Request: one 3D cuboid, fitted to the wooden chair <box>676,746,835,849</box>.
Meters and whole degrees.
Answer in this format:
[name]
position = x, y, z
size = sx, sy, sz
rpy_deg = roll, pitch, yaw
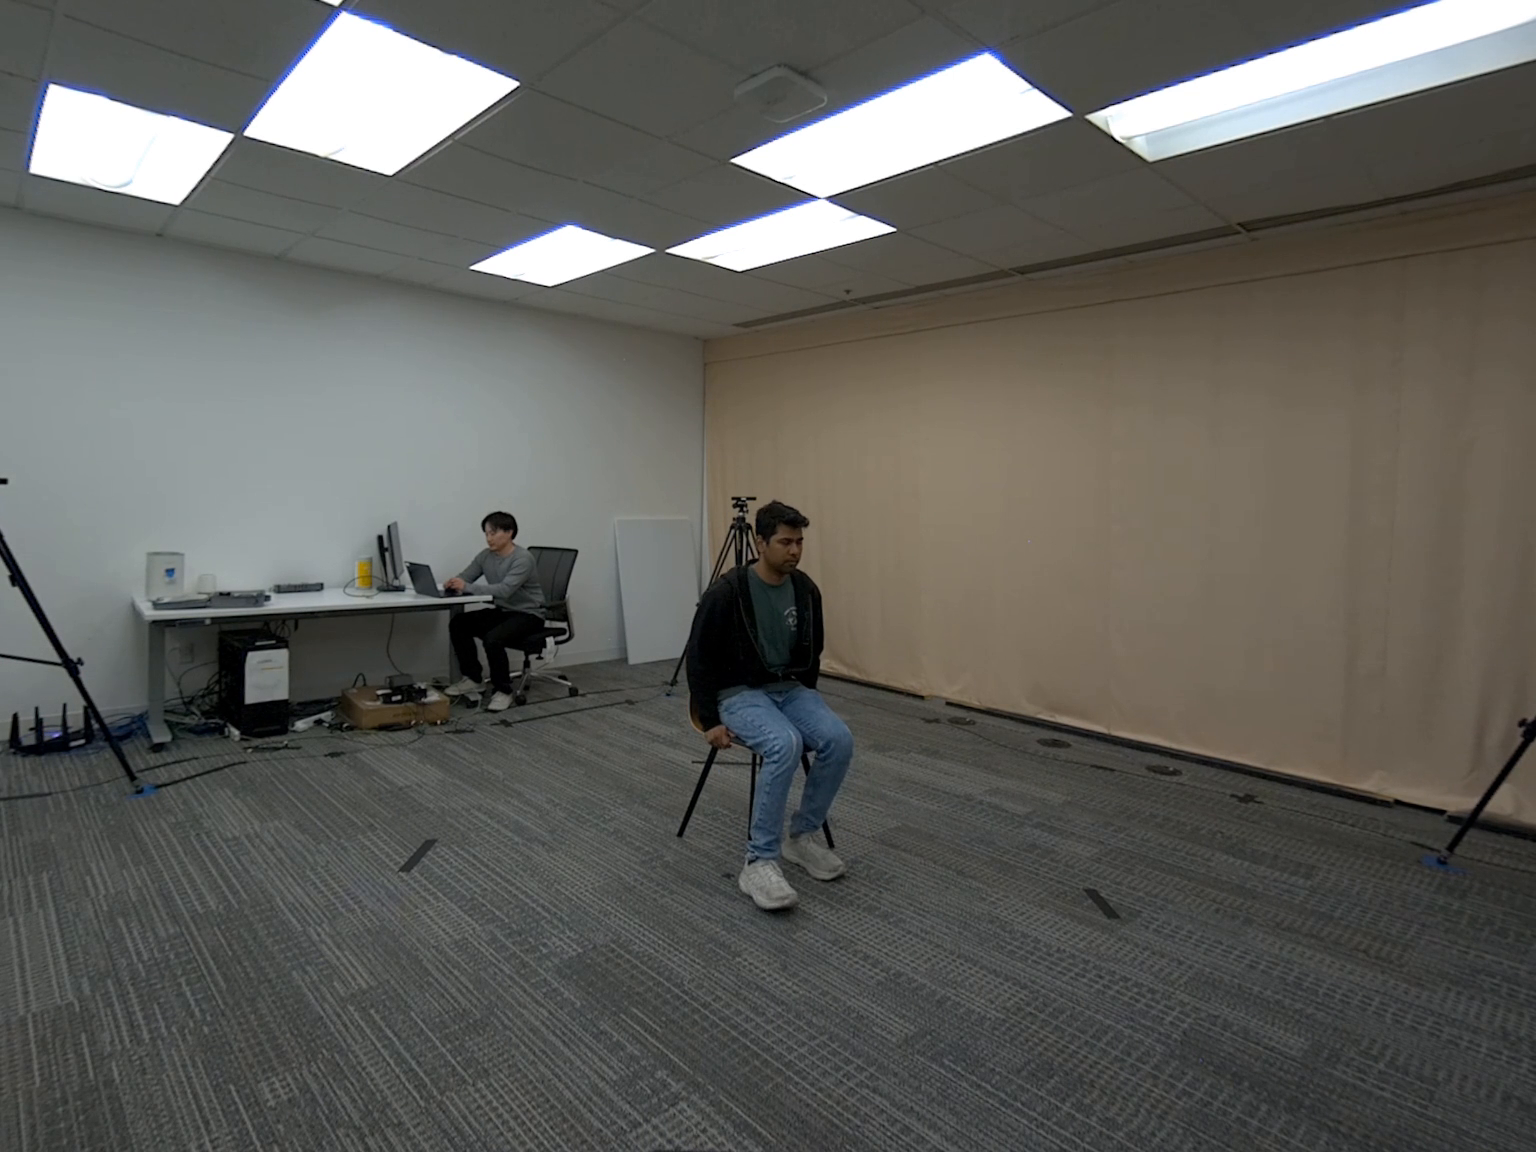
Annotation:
[wooden chair]
position = -0.036, 0.661, 3.380
size = 0.467, 0.877, 0.535
rpy_deg = 0, 0, -40
